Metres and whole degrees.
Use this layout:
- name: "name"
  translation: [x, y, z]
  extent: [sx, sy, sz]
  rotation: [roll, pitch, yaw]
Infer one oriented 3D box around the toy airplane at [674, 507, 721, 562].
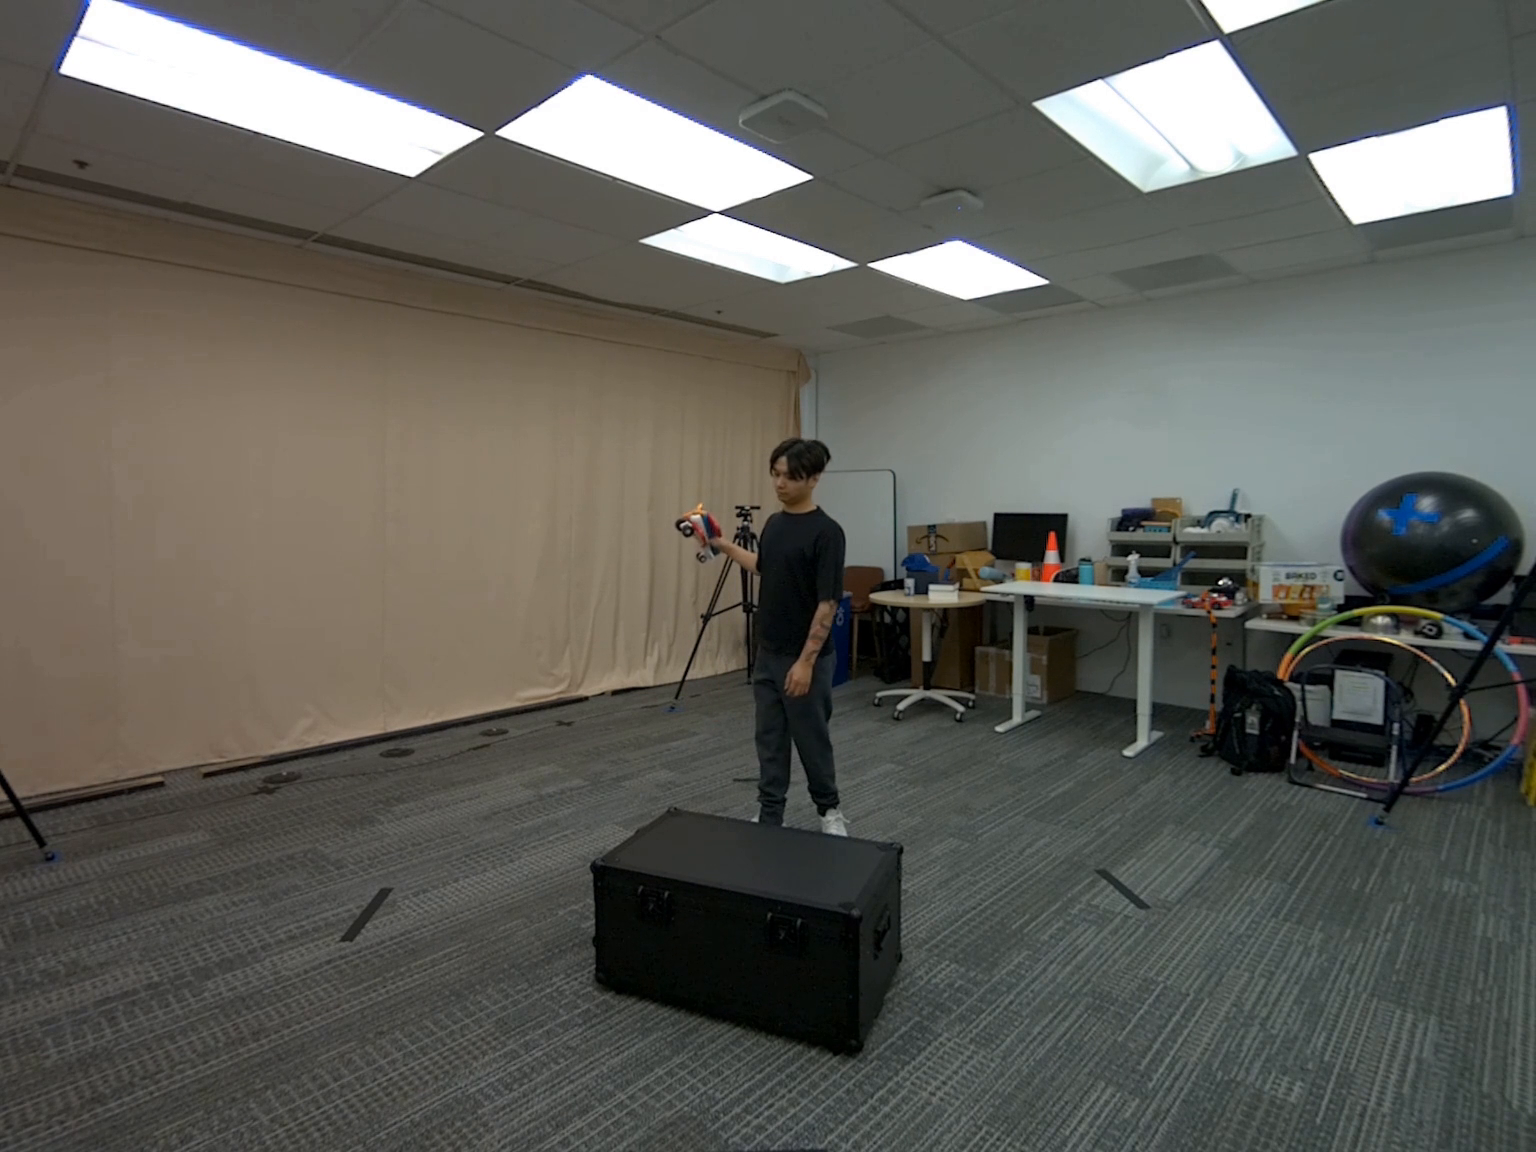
- name: "toy airplane"
  translation: [-0.307, -0.198, 3.852]
  extent: [0.156, 0.259, 0.252]
  rotation: [-36, -30, -8]
